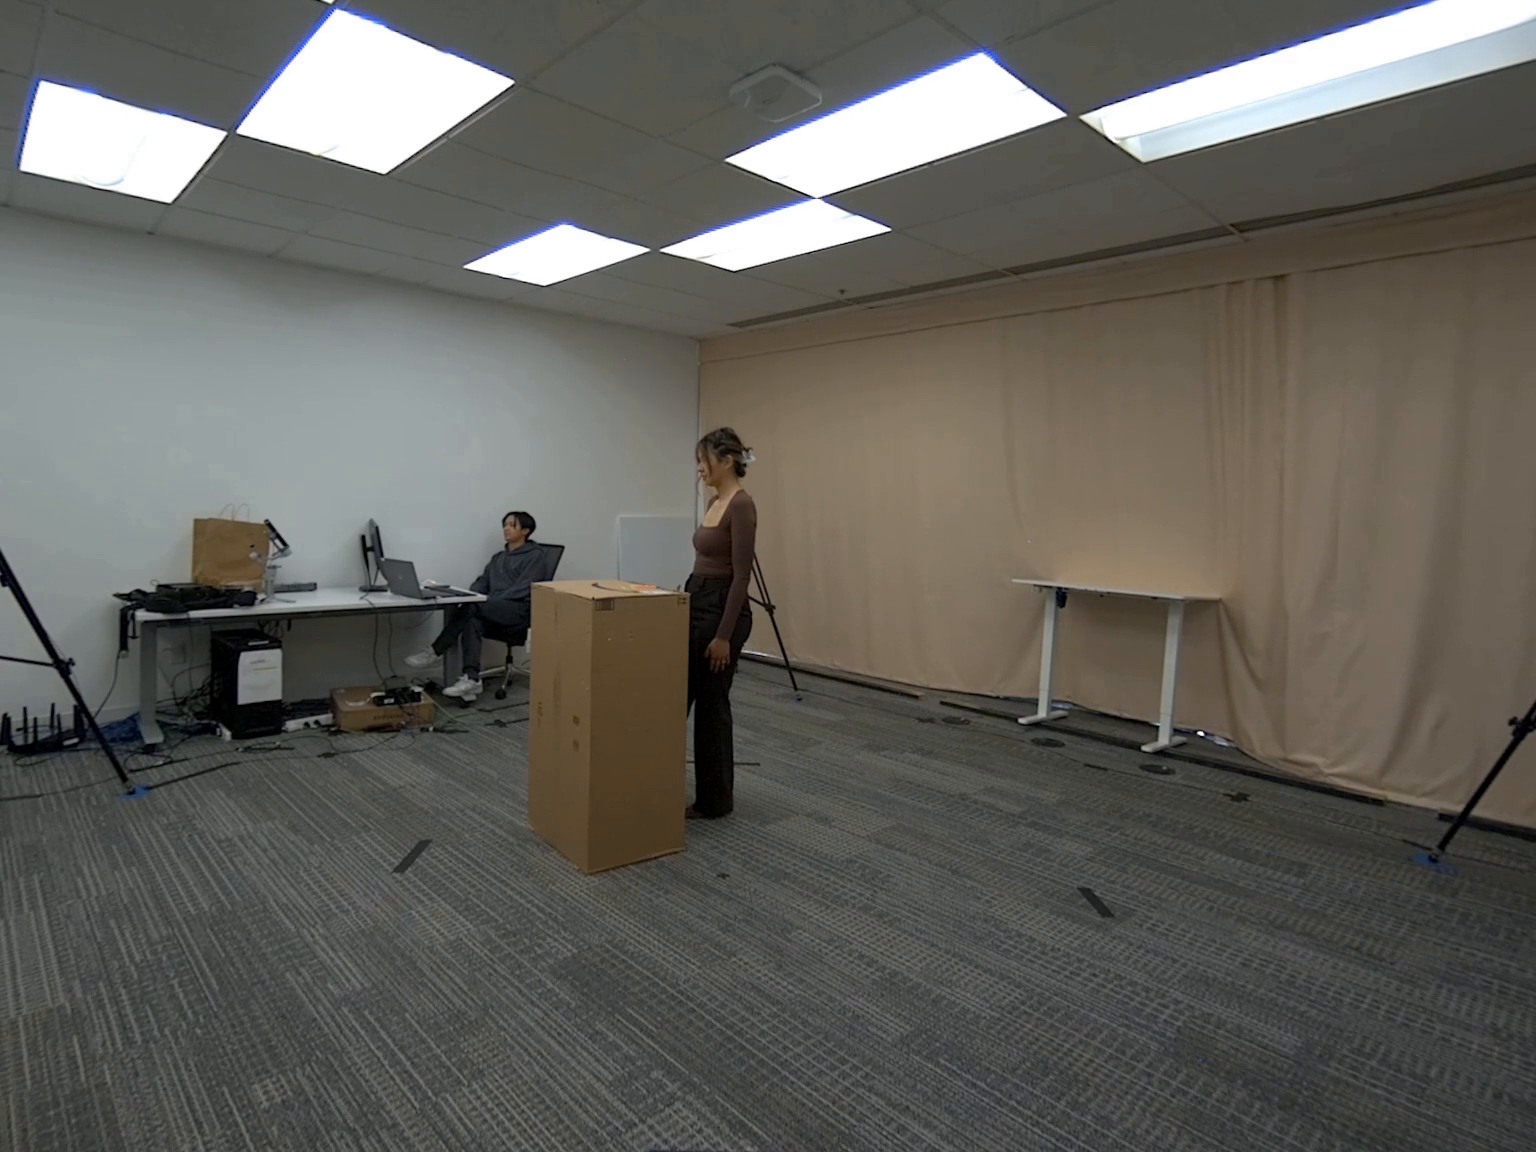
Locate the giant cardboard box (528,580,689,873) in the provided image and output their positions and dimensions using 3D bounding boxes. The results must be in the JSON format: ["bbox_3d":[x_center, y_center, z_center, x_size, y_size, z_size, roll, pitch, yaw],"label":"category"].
[{"bbox_3d":[-0.661,0.557,3.402,0.437,1.025,0.598,0,3,-36],"label":"giant cardboard box"}]
